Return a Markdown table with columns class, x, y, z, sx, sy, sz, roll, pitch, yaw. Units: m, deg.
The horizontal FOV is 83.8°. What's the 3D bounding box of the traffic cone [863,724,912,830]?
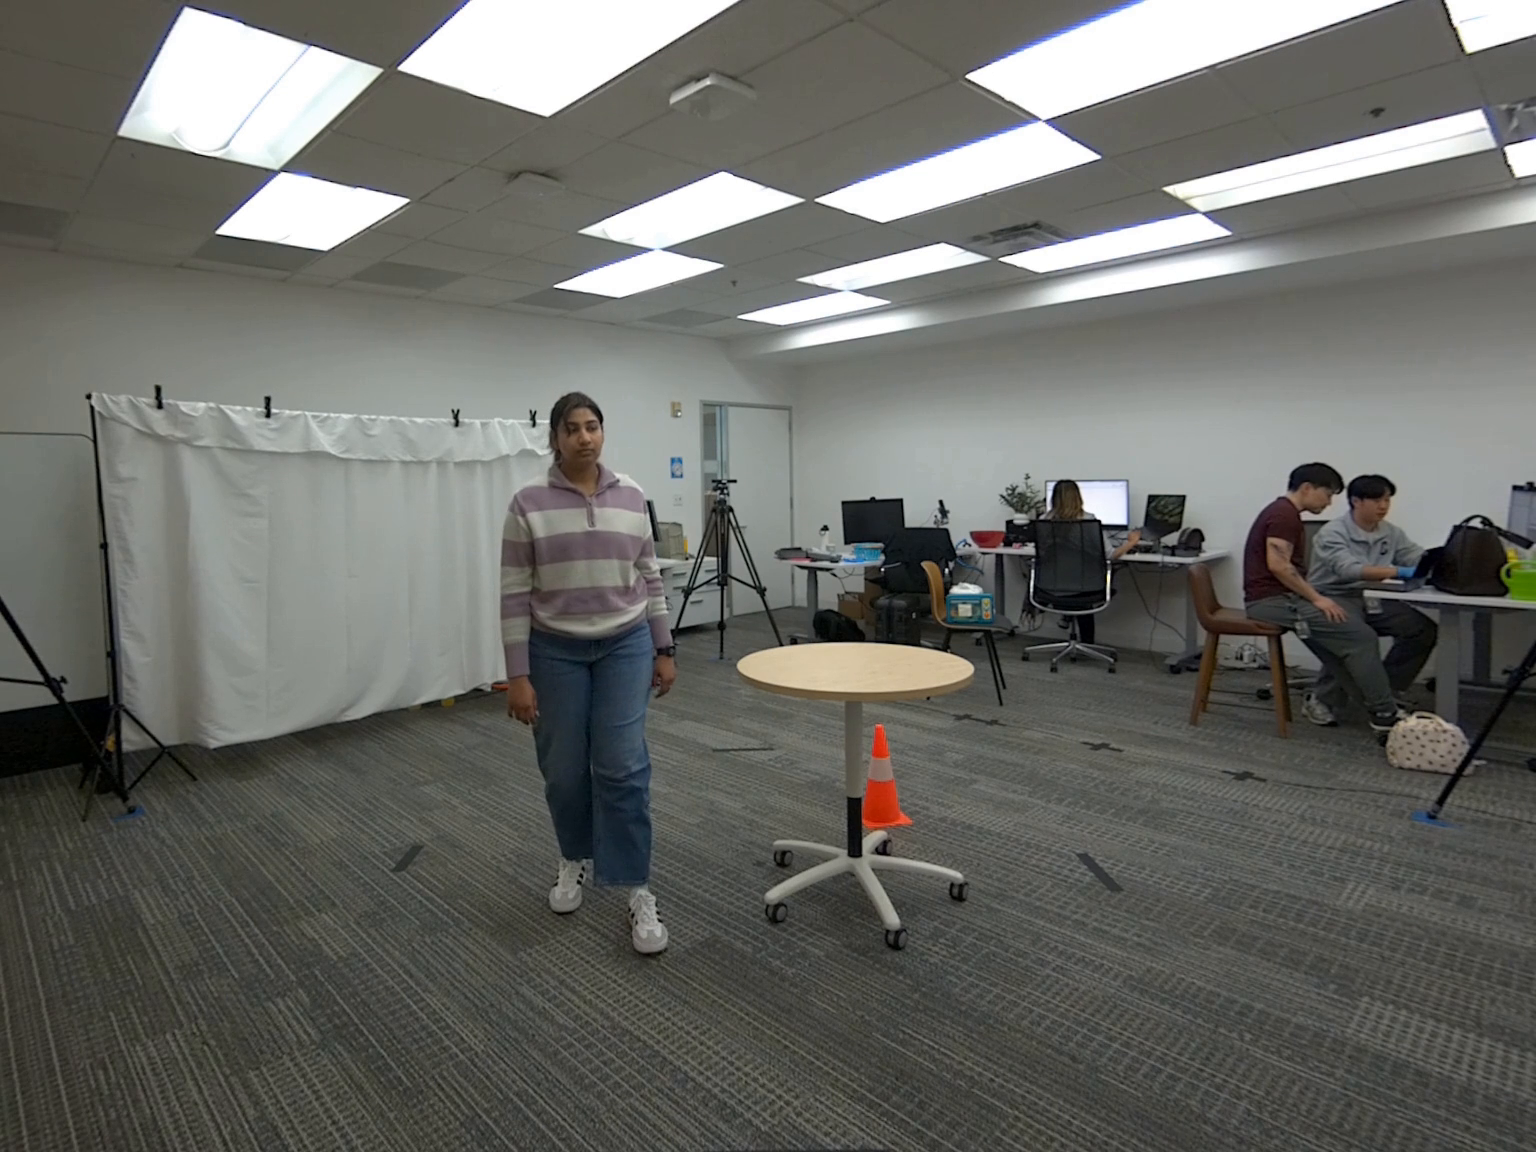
| class | x | y | z | sx | sy | sz | roll | pitch | yaw |
| --- | --- | --- | --- | --- | --- | --- | --- | --- | --- |
| traffic cone | 0.462 | 0.810 | 3.516 | 0.202 | 0.382 | 0.207 | -2 | 5 | -15 |
